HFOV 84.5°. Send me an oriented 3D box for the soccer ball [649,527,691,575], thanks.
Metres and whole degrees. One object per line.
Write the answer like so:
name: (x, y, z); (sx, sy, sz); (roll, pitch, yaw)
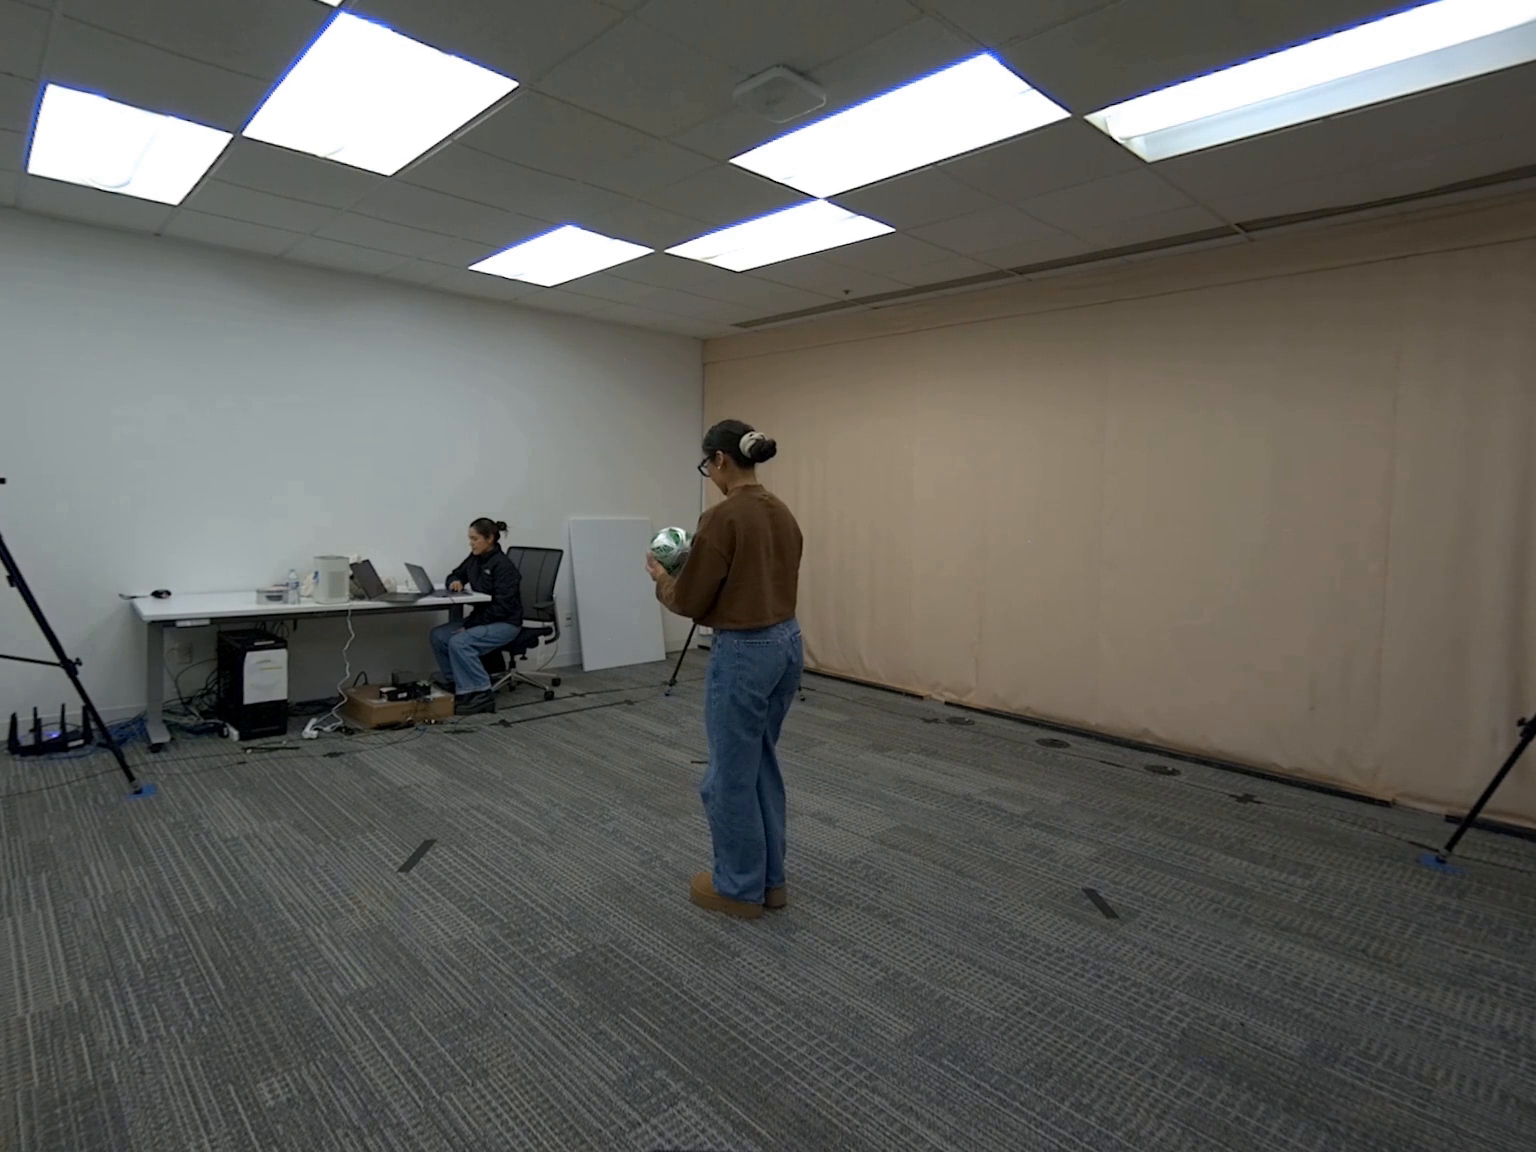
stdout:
soccer ball: (-0.352, -0.078, 3.009); (0.187, 0.187, 0.188); (1, 4, -1)
